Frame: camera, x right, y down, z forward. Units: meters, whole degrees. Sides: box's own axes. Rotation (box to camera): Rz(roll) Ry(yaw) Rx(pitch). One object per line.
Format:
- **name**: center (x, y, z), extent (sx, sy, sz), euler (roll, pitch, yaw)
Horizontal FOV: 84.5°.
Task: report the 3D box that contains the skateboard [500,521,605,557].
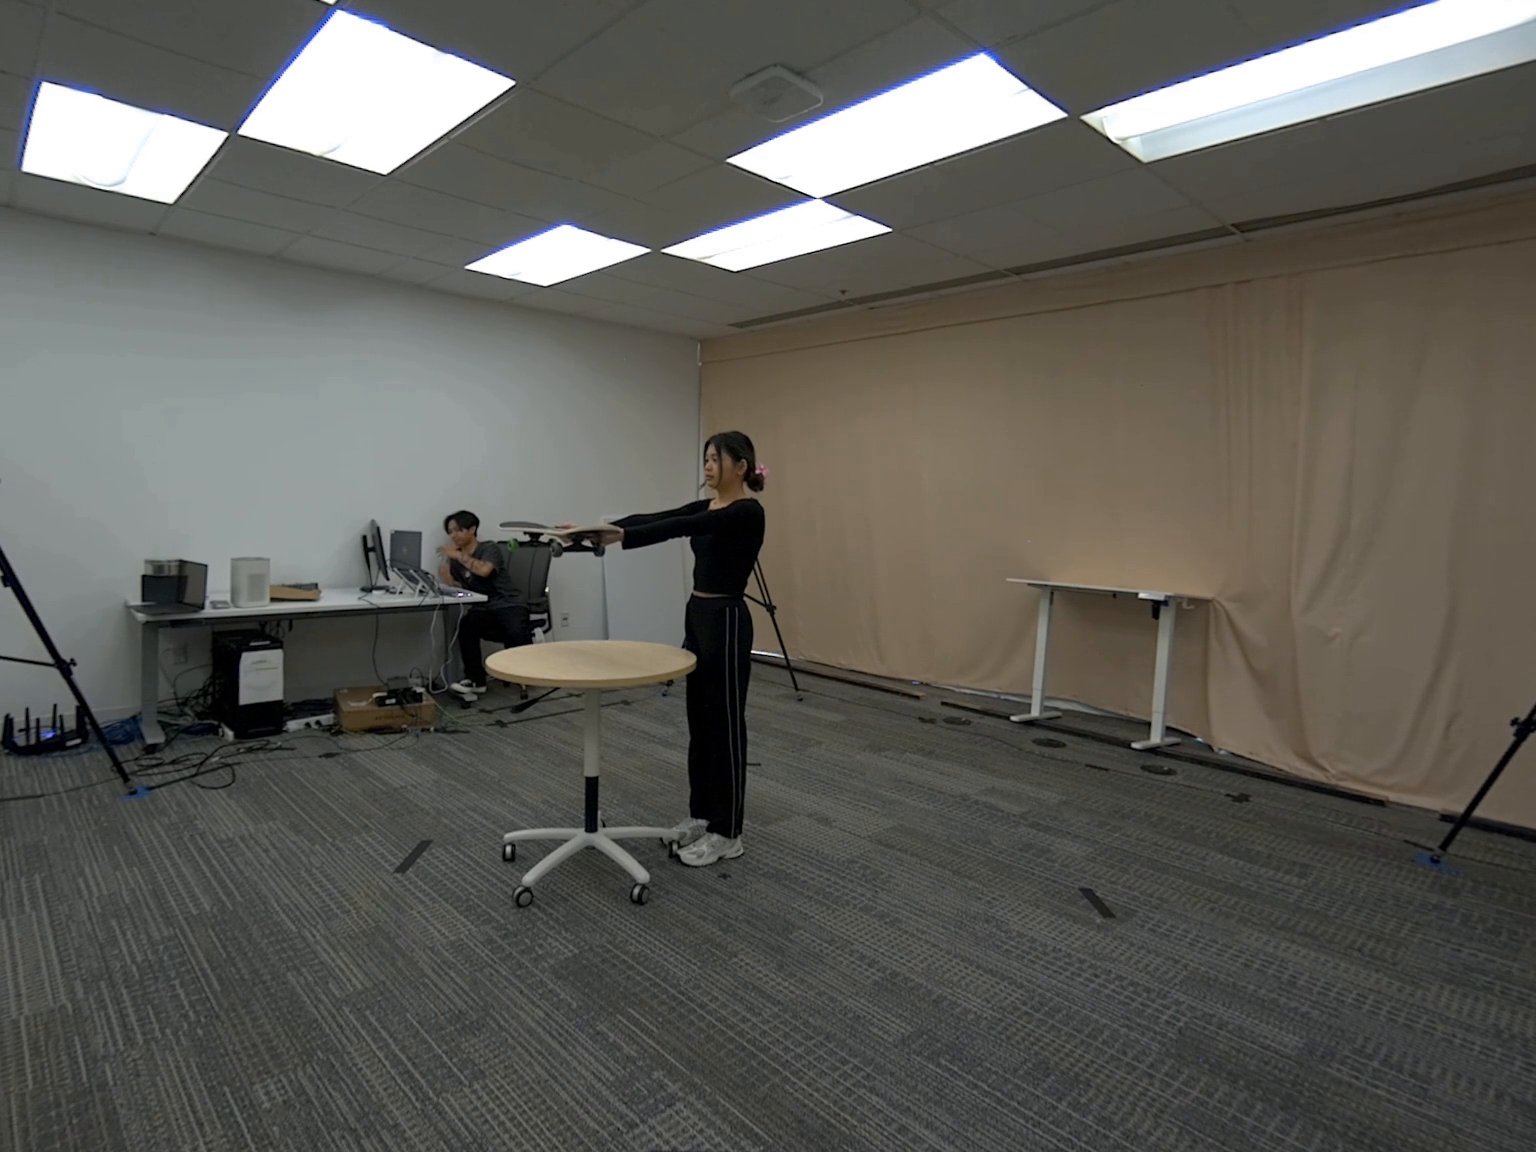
- **skateboard**: center (-0.770, -0.133, 2.970), extent (0.189, 0.110, 0.804), euler (-3, 5, -35)
